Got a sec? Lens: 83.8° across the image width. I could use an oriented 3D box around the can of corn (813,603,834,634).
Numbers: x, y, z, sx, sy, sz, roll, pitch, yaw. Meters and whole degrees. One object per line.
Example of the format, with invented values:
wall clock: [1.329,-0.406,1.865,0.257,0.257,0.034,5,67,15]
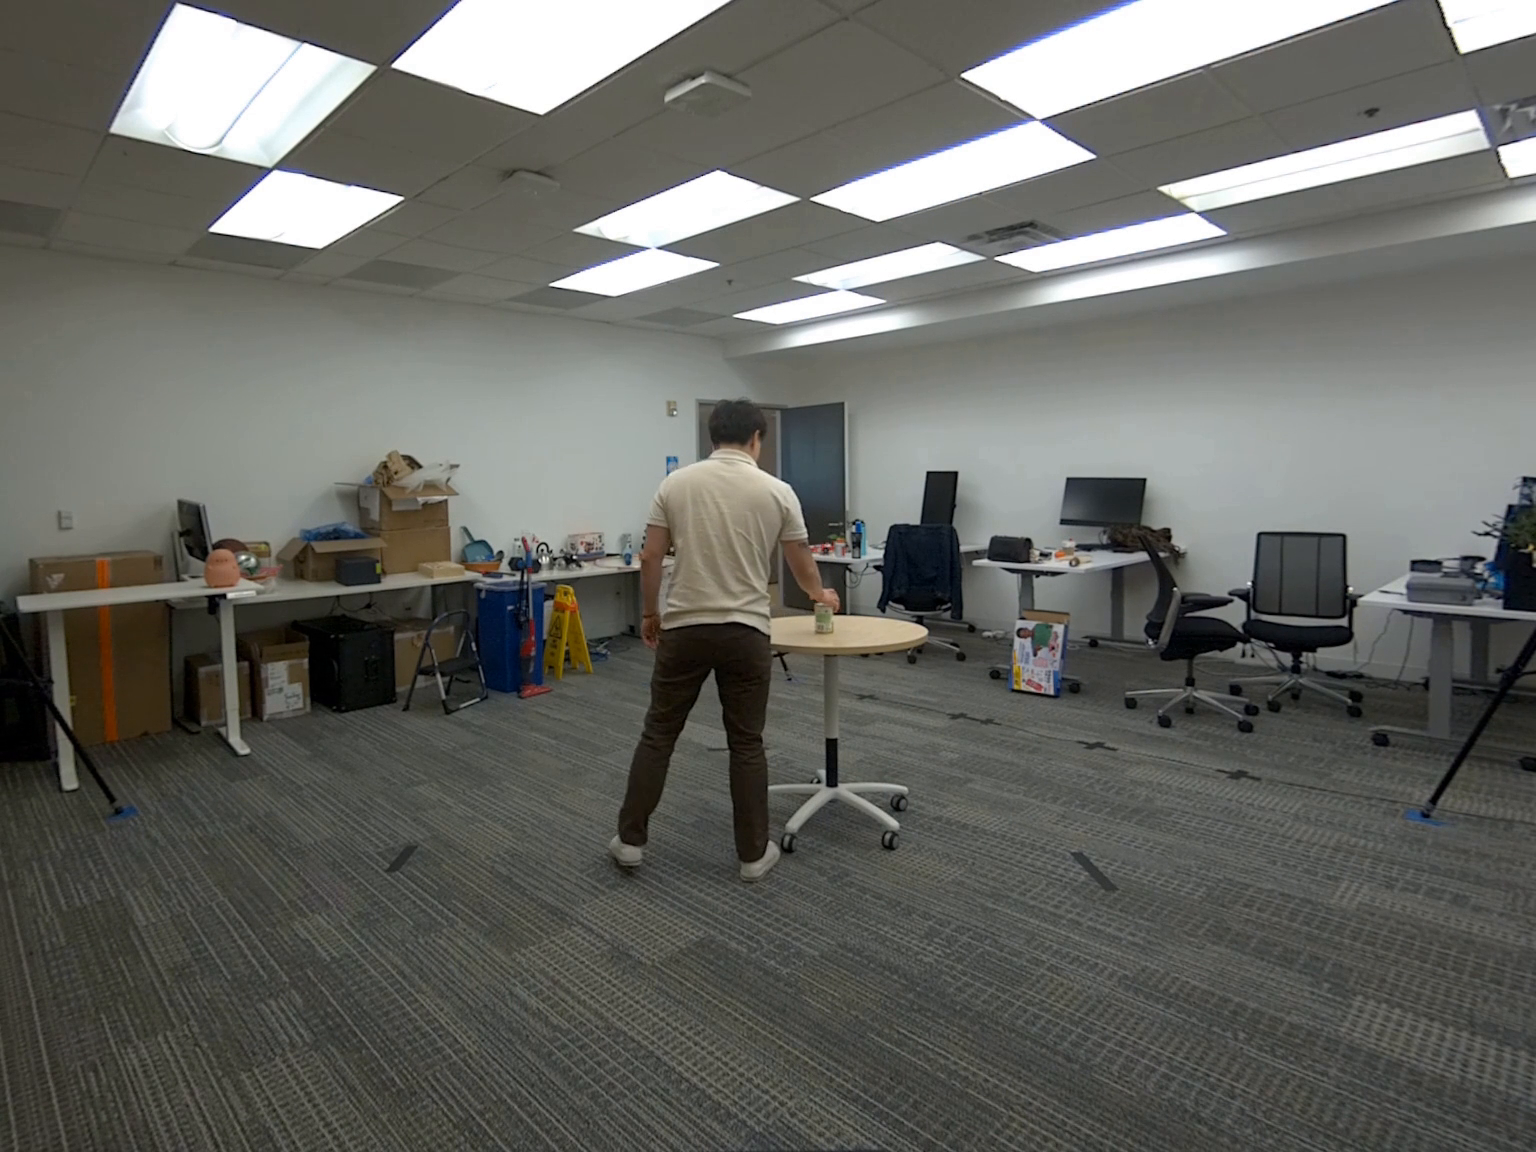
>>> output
can of corn: [0.226,0.169,3.383,0.074,0.110,0.074,1,5,-2]
